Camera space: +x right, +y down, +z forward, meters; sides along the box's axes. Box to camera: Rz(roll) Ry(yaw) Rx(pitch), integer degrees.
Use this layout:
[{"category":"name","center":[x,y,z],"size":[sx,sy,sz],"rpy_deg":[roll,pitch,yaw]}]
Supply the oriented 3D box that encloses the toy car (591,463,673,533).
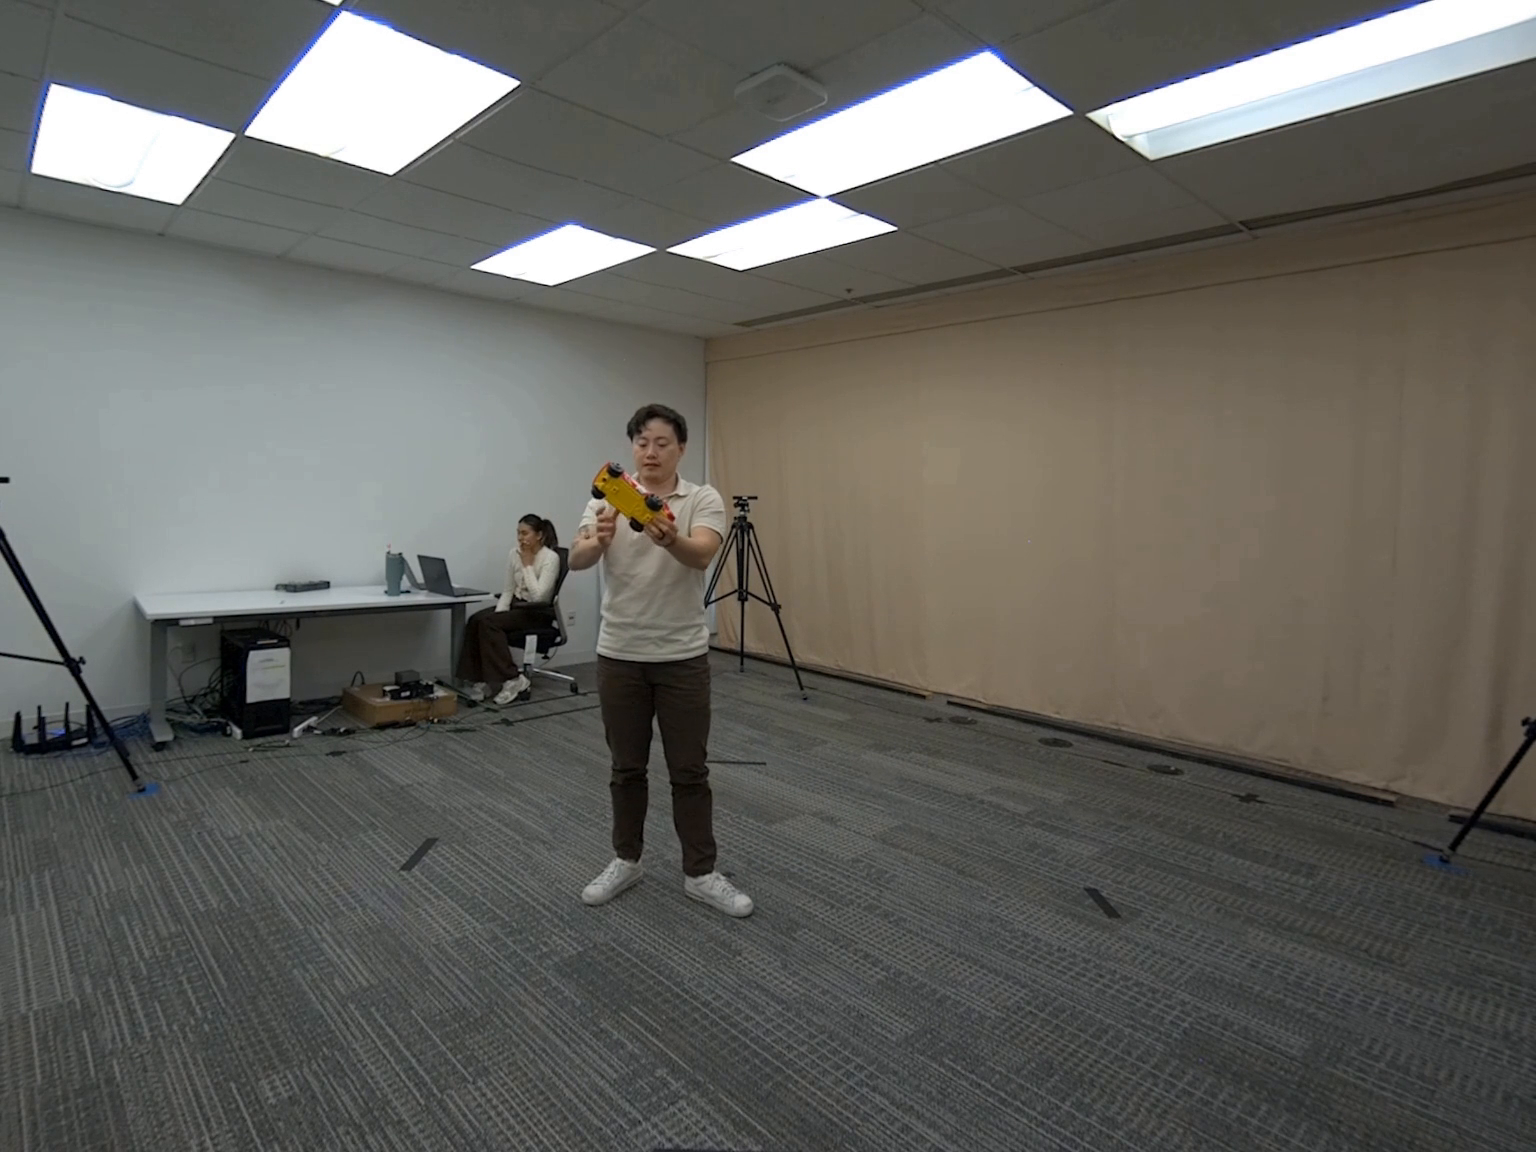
[{"category":"toy car","center":[-0.396,-0.213,2.399],"size":[0.252,0.130,0.084],"rpy_deg":[36,28,-9]}]
